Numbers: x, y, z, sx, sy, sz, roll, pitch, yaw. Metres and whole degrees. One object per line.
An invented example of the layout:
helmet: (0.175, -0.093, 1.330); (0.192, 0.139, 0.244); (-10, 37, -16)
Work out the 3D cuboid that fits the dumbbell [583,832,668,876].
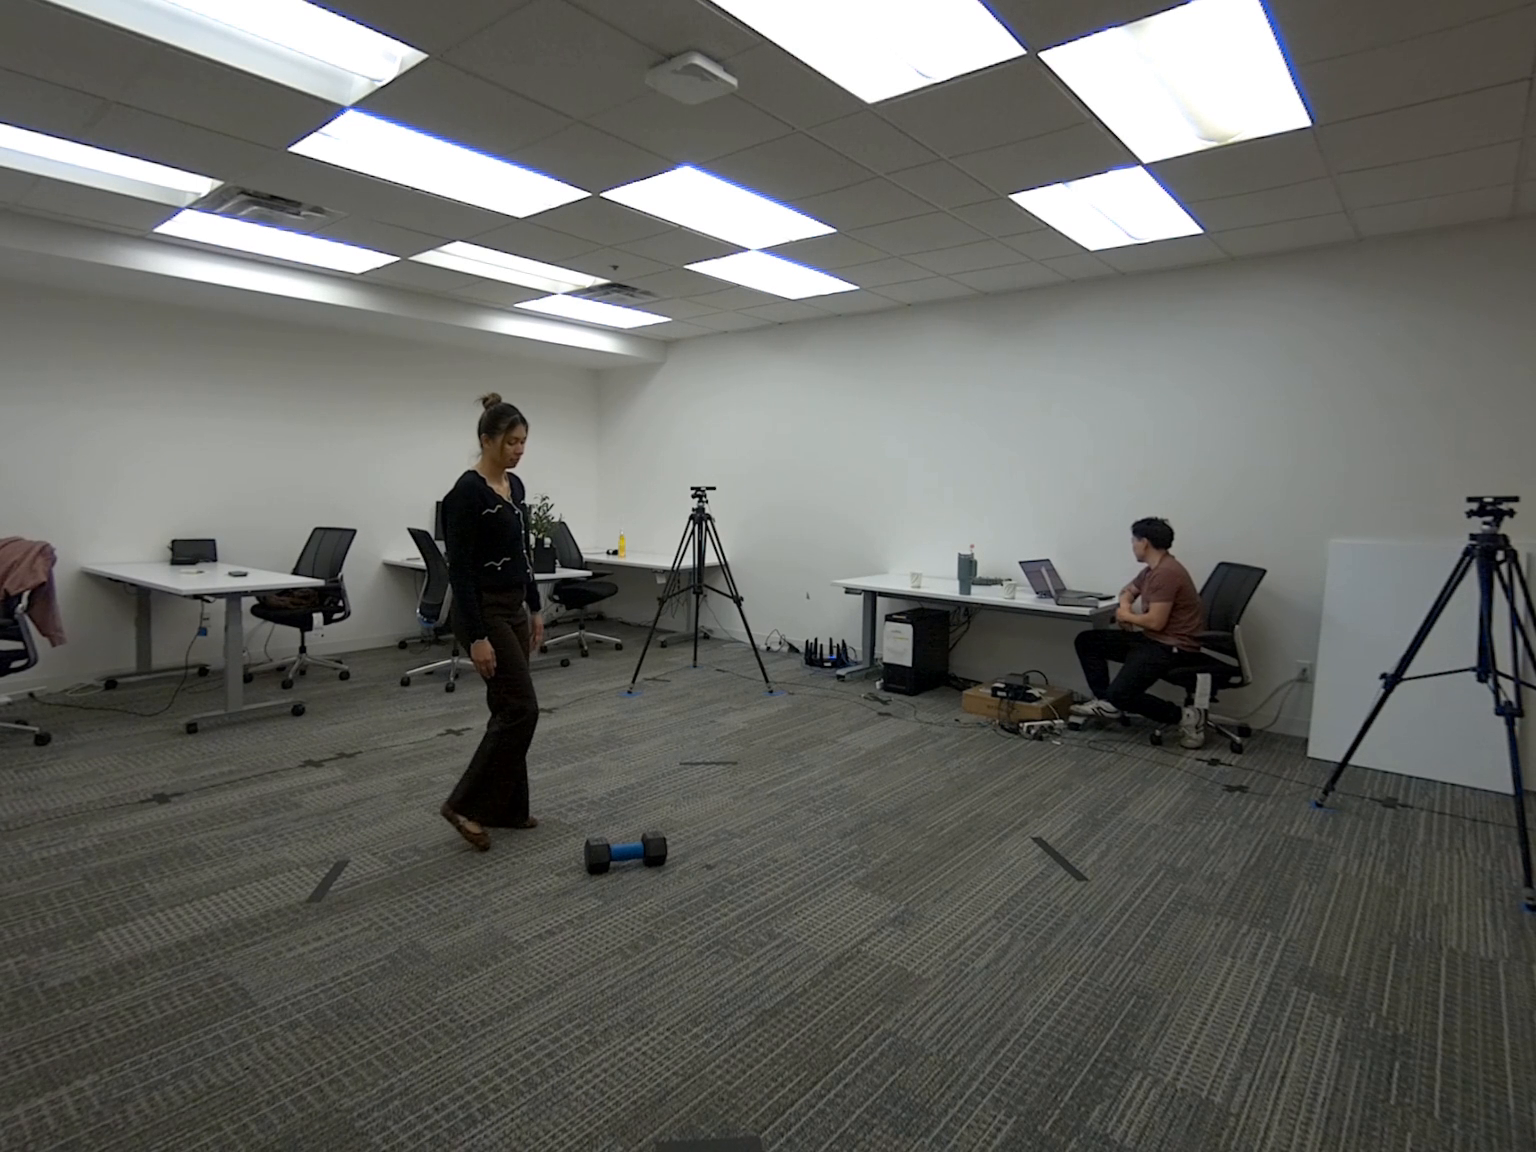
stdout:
dumbbell: (-0.530, 1.008, 3.110); (0.288, 0.120, 0.113); (-1, 34, -19)
